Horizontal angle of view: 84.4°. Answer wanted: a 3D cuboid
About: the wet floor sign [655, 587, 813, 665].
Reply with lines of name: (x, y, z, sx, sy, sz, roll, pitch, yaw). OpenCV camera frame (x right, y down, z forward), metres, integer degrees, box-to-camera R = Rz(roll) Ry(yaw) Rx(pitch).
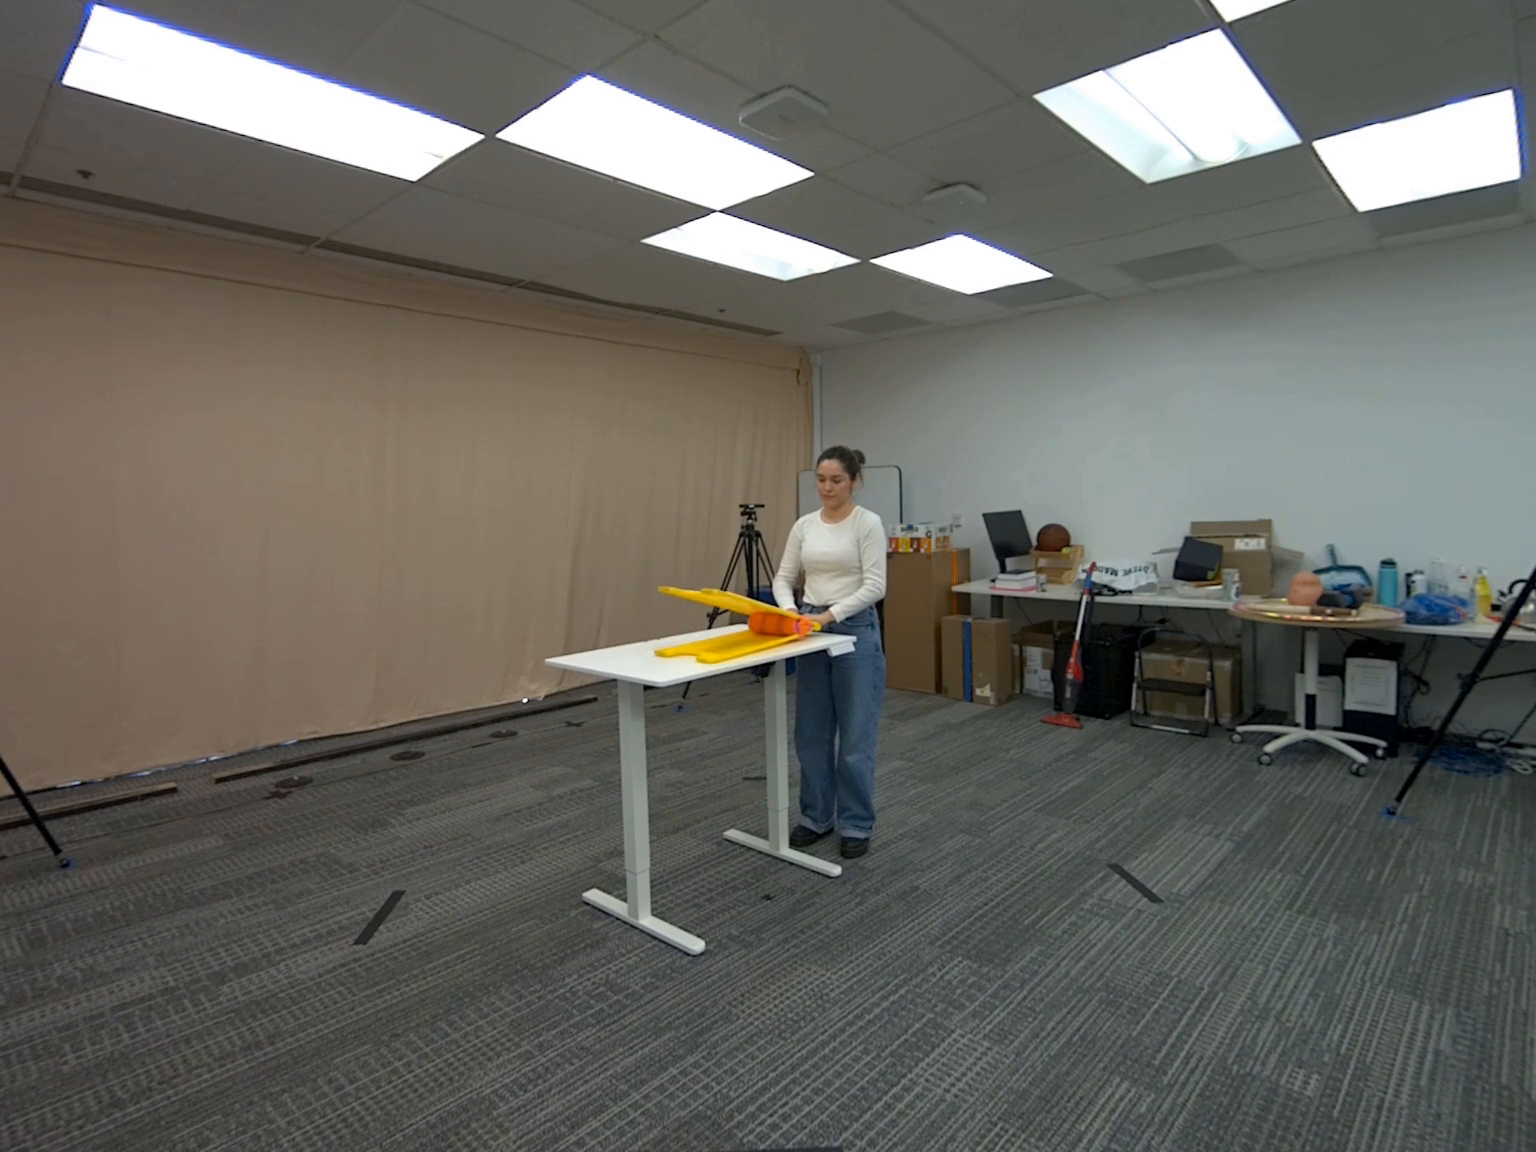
wet floor sign: (-0.066, 0.182, 3.046, 0.291, 0.290, 0.625, 2, -1, 42)
